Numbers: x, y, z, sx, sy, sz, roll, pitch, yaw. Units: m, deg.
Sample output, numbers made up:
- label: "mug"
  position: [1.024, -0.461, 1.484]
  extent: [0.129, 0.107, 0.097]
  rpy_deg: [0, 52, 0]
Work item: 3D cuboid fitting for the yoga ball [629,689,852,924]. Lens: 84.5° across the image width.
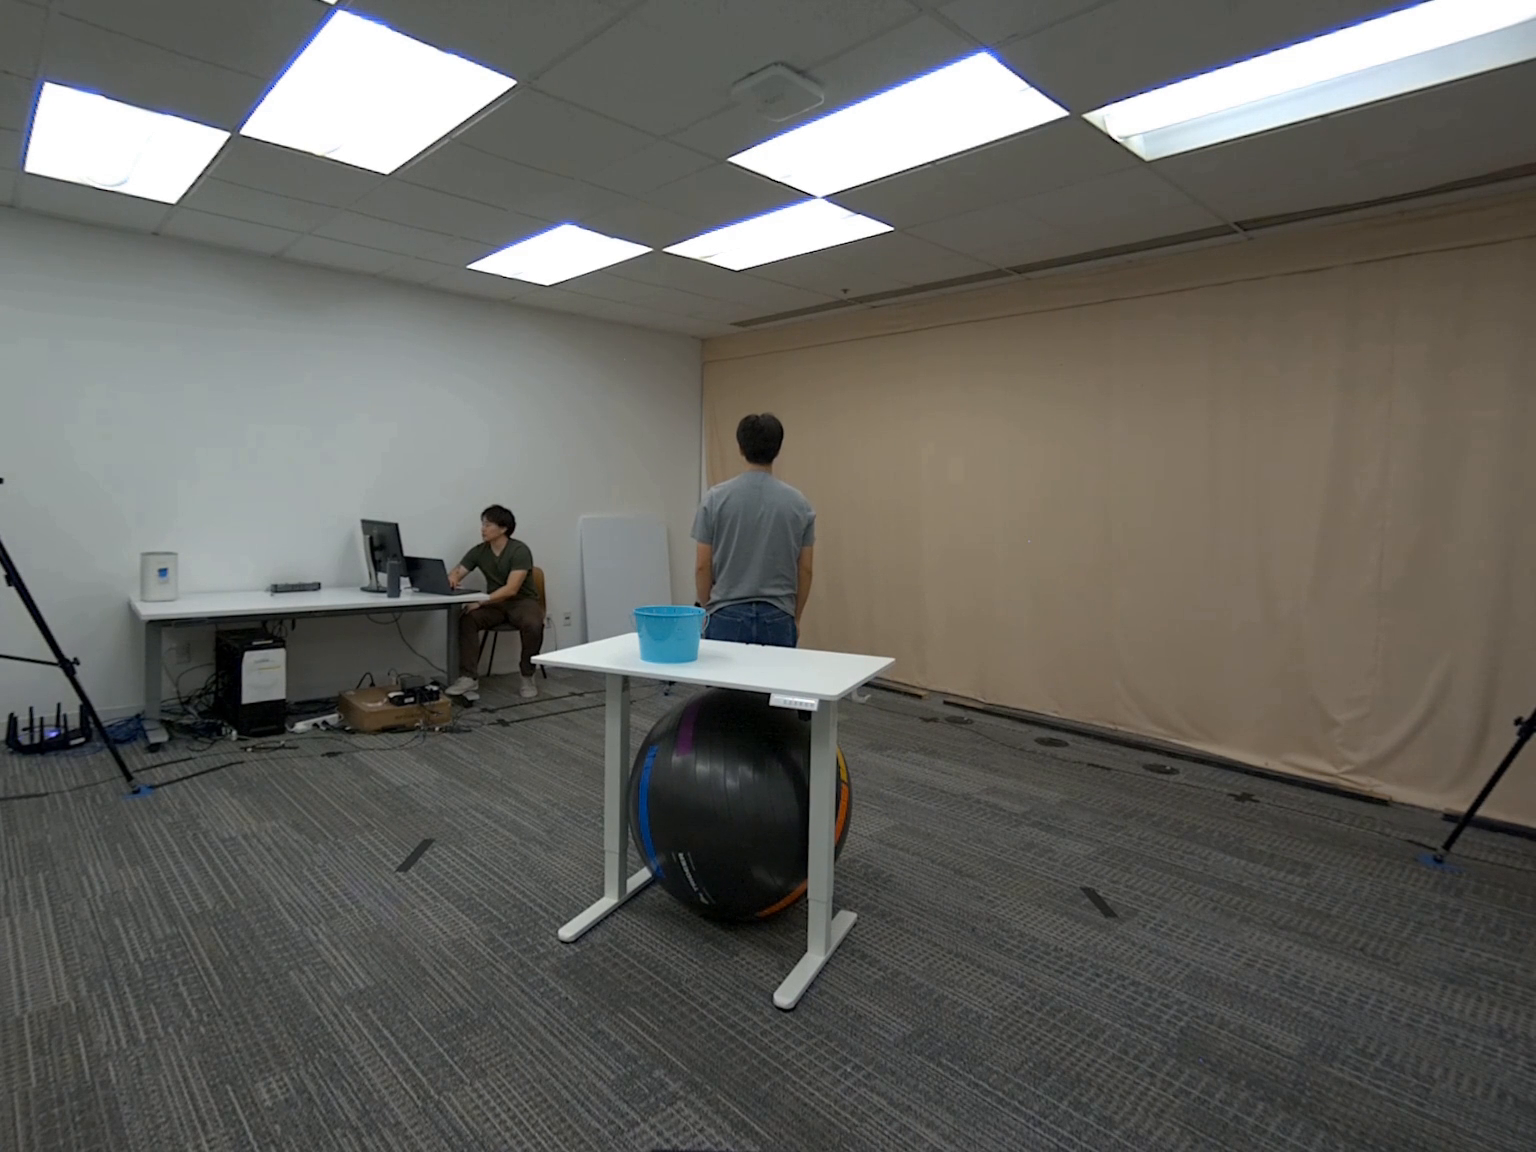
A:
- label: "yoga ball"
  position: [-0.104, 0.749, 2.861]
  extent: [0.757, 0.756, 0.761]
  rpy_deg: [1, 4, -1]
